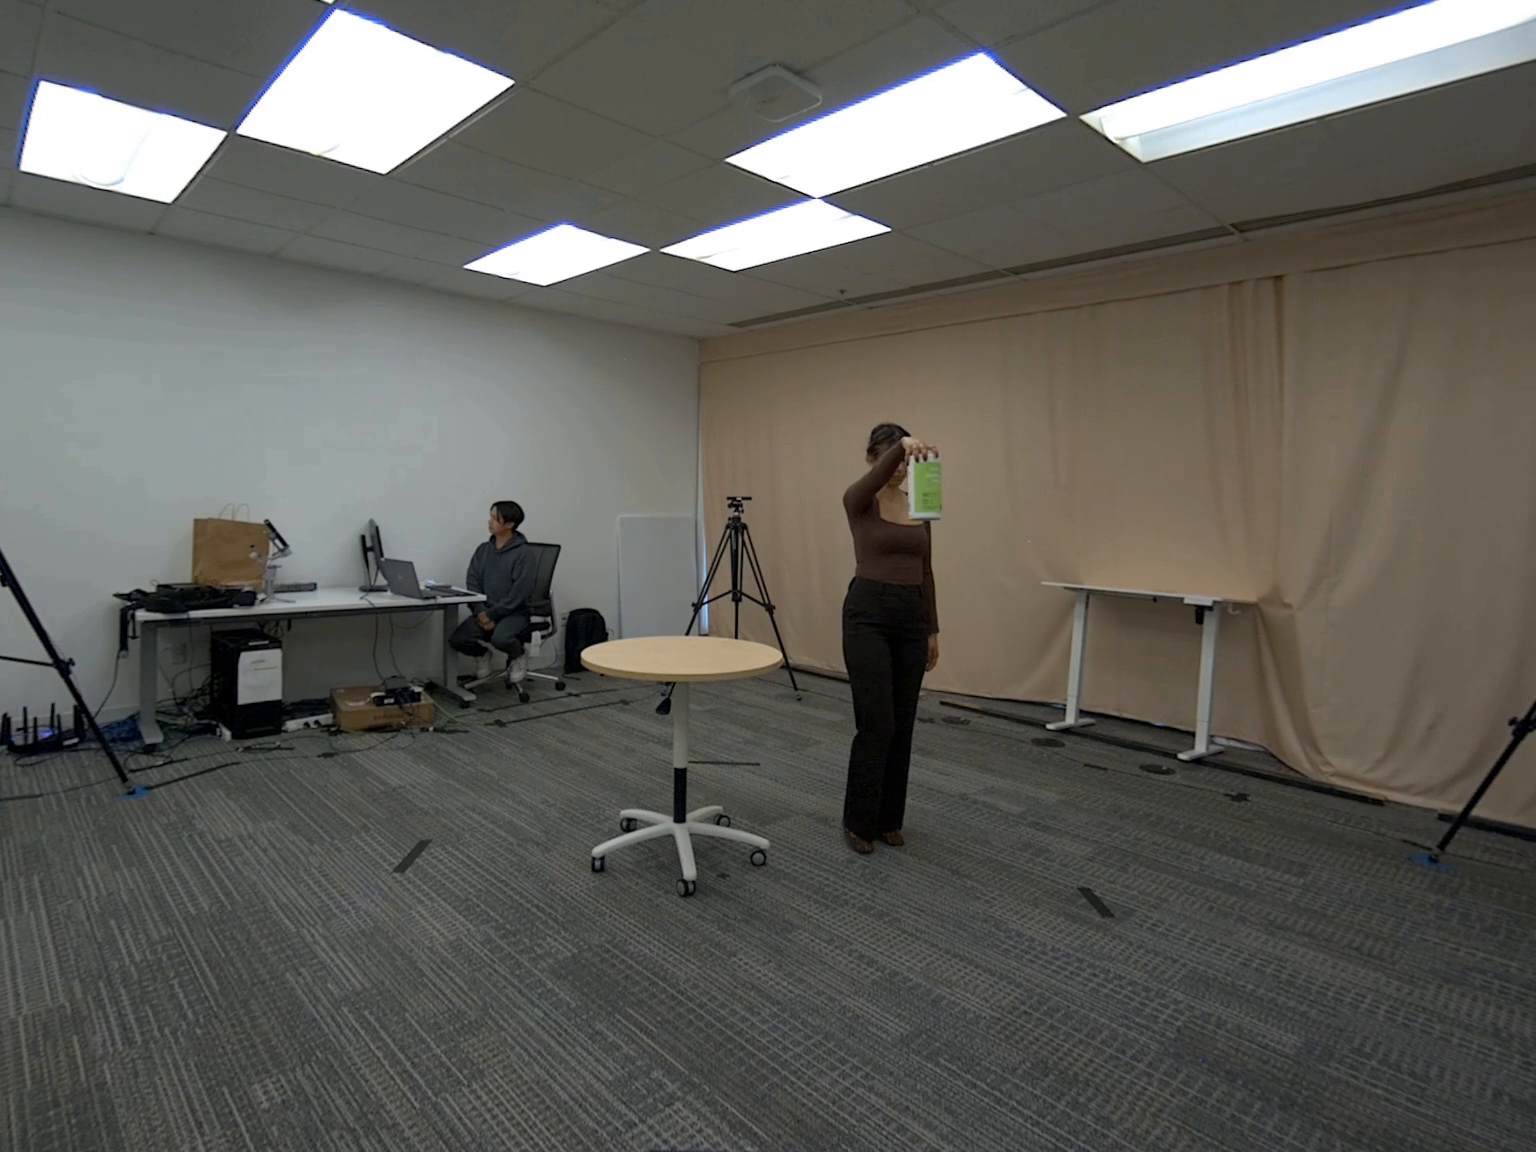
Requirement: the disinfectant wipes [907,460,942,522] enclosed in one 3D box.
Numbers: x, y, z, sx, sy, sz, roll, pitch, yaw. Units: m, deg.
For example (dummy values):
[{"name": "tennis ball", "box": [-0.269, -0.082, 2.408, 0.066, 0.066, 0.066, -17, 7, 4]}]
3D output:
[{"name": "disinfectant wipes", "box": [0.511, -0.290, 2.815, 0.118, 0.218, 0.117, -1, -3, -1]}]
